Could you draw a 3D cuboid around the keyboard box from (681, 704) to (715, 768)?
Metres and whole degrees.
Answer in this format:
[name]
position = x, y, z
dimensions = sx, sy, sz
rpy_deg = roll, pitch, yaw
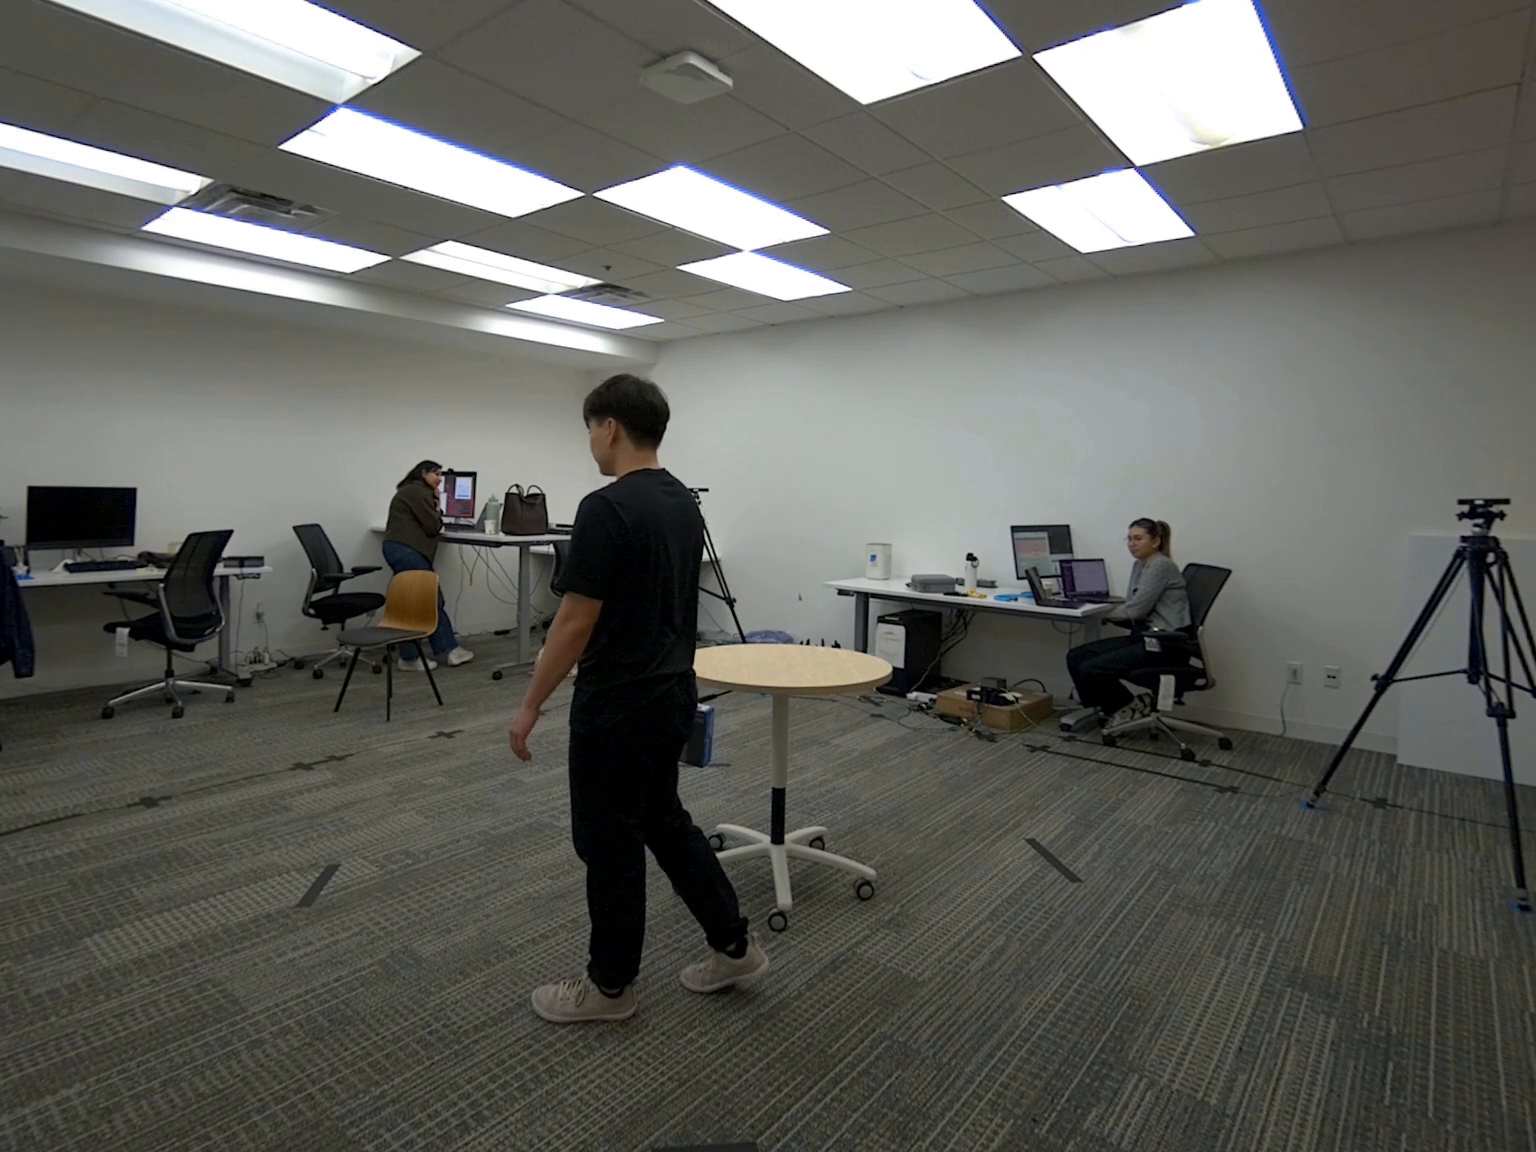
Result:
[keyboard box]
position = -0.371, 0.436, 2.564
dimensions = 0.447, 0.175, 0.058
rpy_deg = 8, 8, 21
